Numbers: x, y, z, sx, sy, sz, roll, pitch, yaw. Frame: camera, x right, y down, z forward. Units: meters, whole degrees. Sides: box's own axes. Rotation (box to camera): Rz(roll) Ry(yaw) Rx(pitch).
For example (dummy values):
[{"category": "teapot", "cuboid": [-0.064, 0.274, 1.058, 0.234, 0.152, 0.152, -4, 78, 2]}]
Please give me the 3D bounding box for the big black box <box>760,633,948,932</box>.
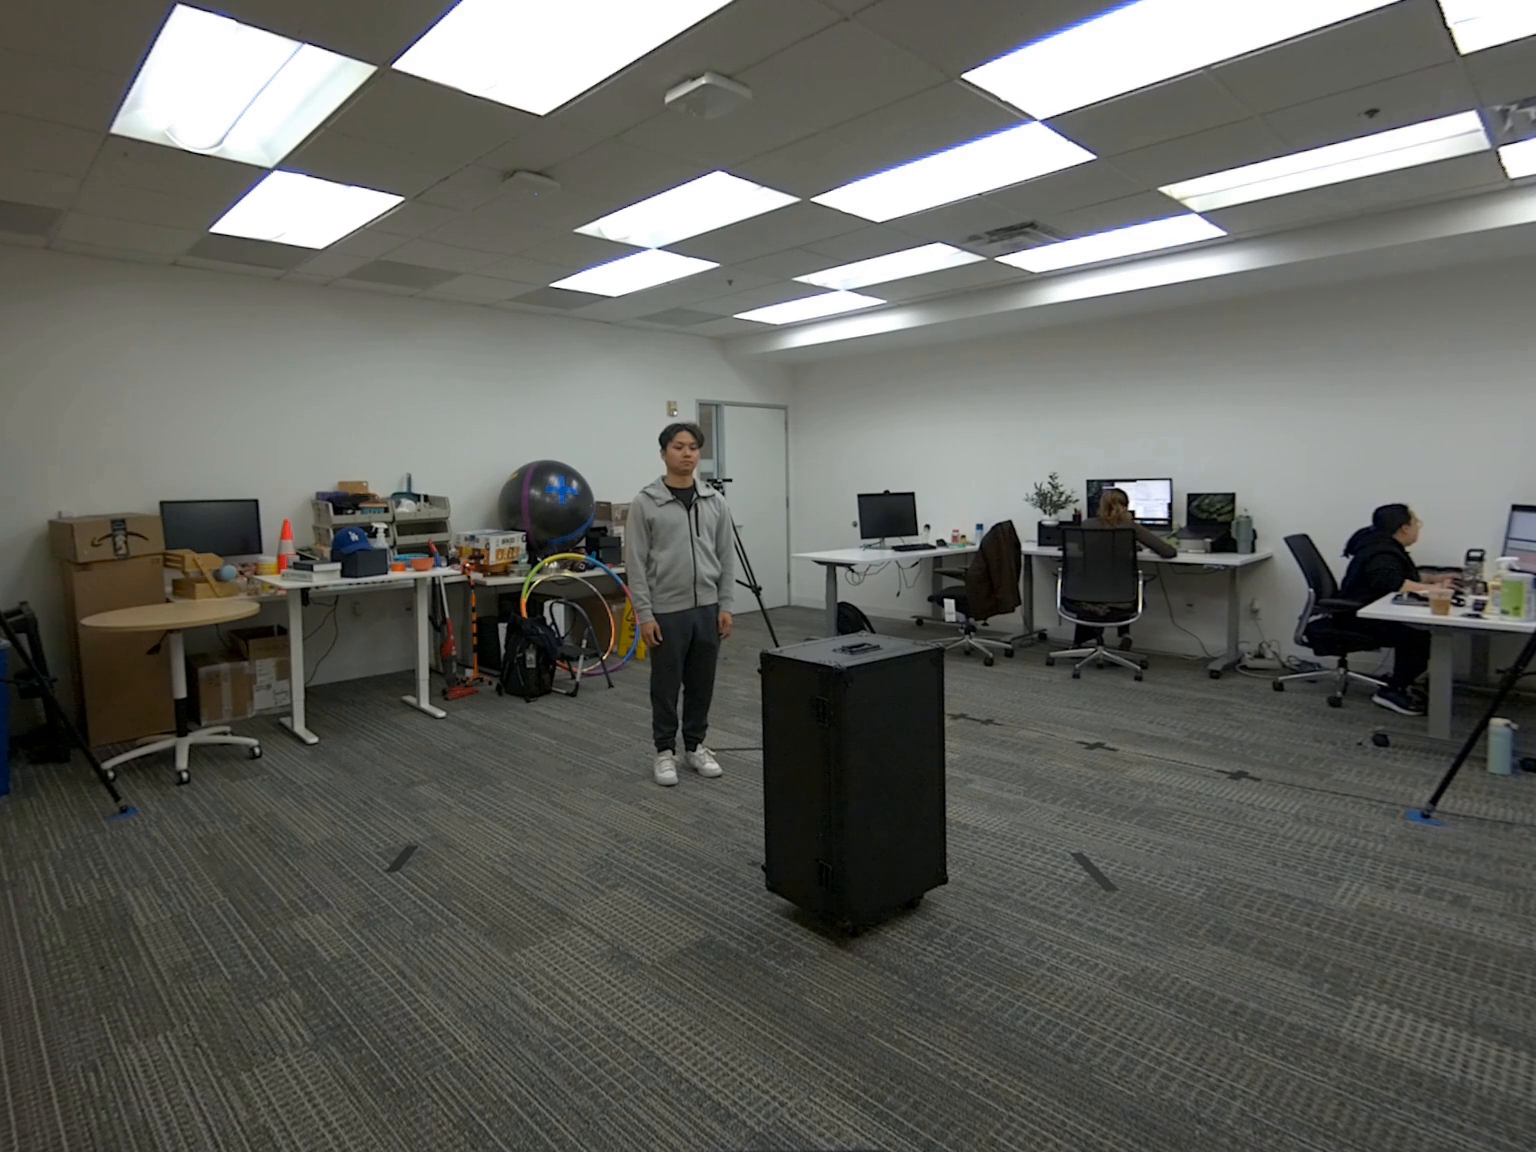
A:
[{"category": "big black box", "cuboid": [0.272, 0.655, 2.760, 0.508, 0.859, 0.408, -5, 4, -39]}]
